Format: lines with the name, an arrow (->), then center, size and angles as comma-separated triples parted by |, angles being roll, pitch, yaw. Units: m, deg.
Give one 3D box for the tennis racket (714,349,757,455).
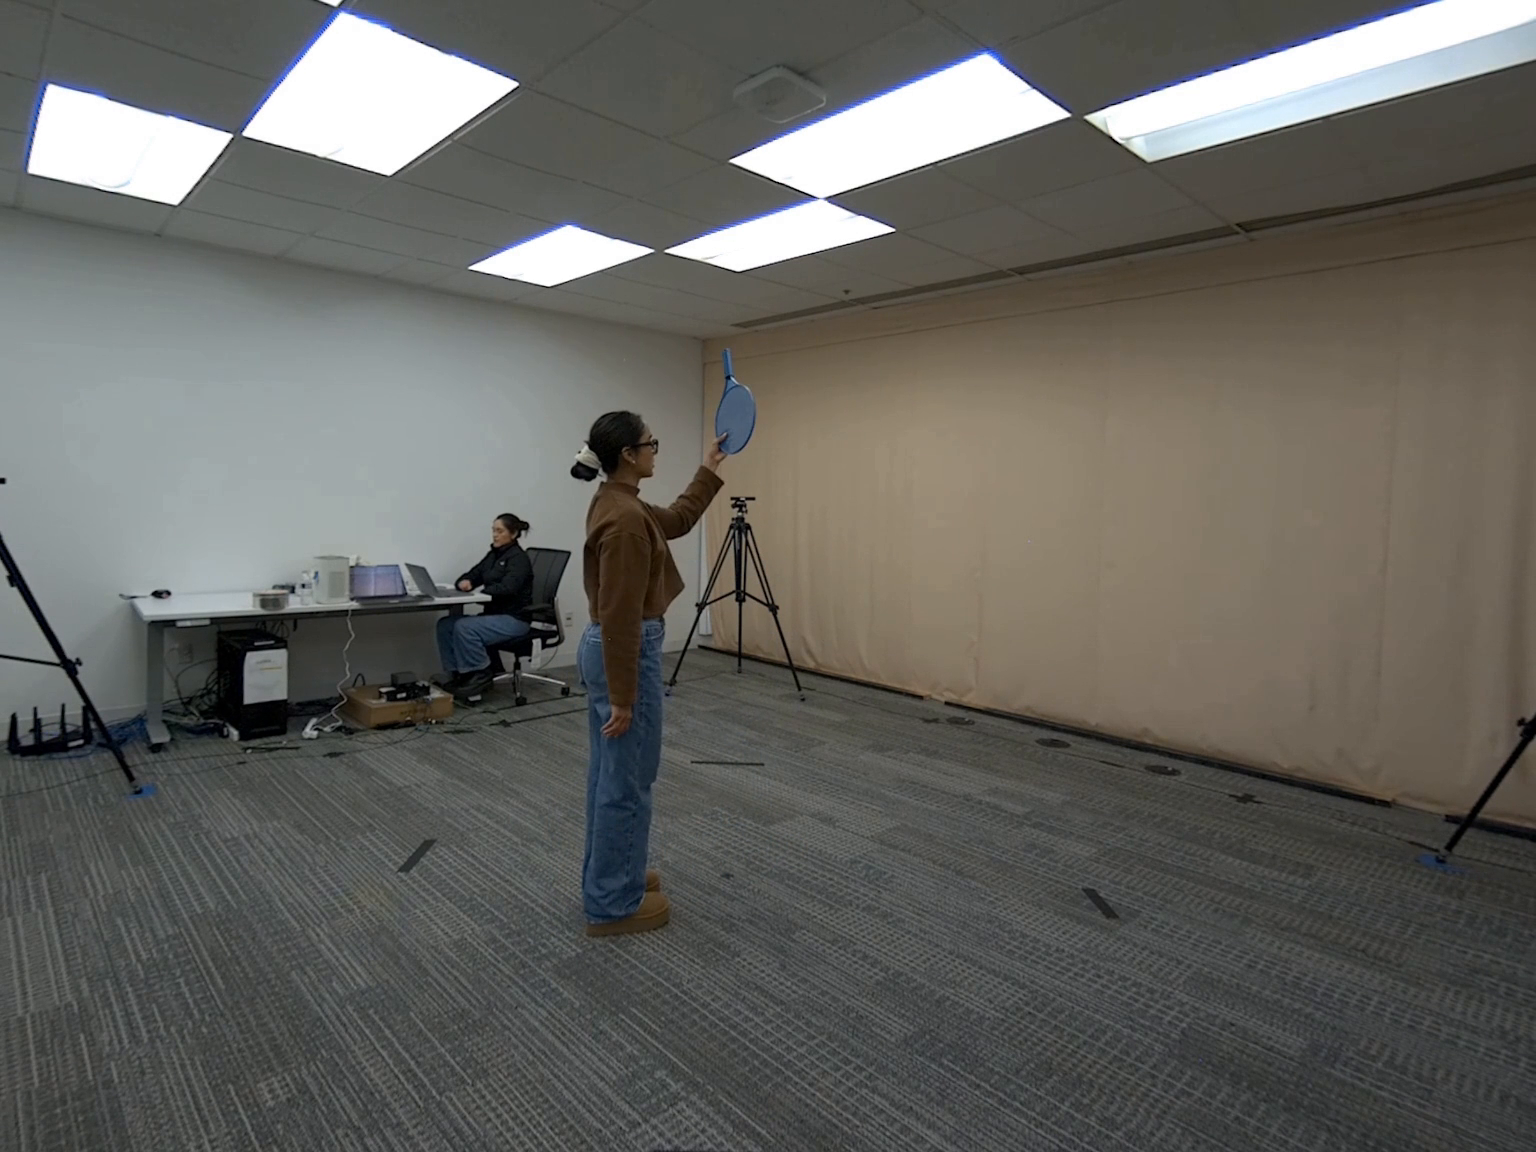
tennis racket -> -0.130, -0.615, 3.036 | 0.031, 0.441, 0.215 | 15, -34, -39
